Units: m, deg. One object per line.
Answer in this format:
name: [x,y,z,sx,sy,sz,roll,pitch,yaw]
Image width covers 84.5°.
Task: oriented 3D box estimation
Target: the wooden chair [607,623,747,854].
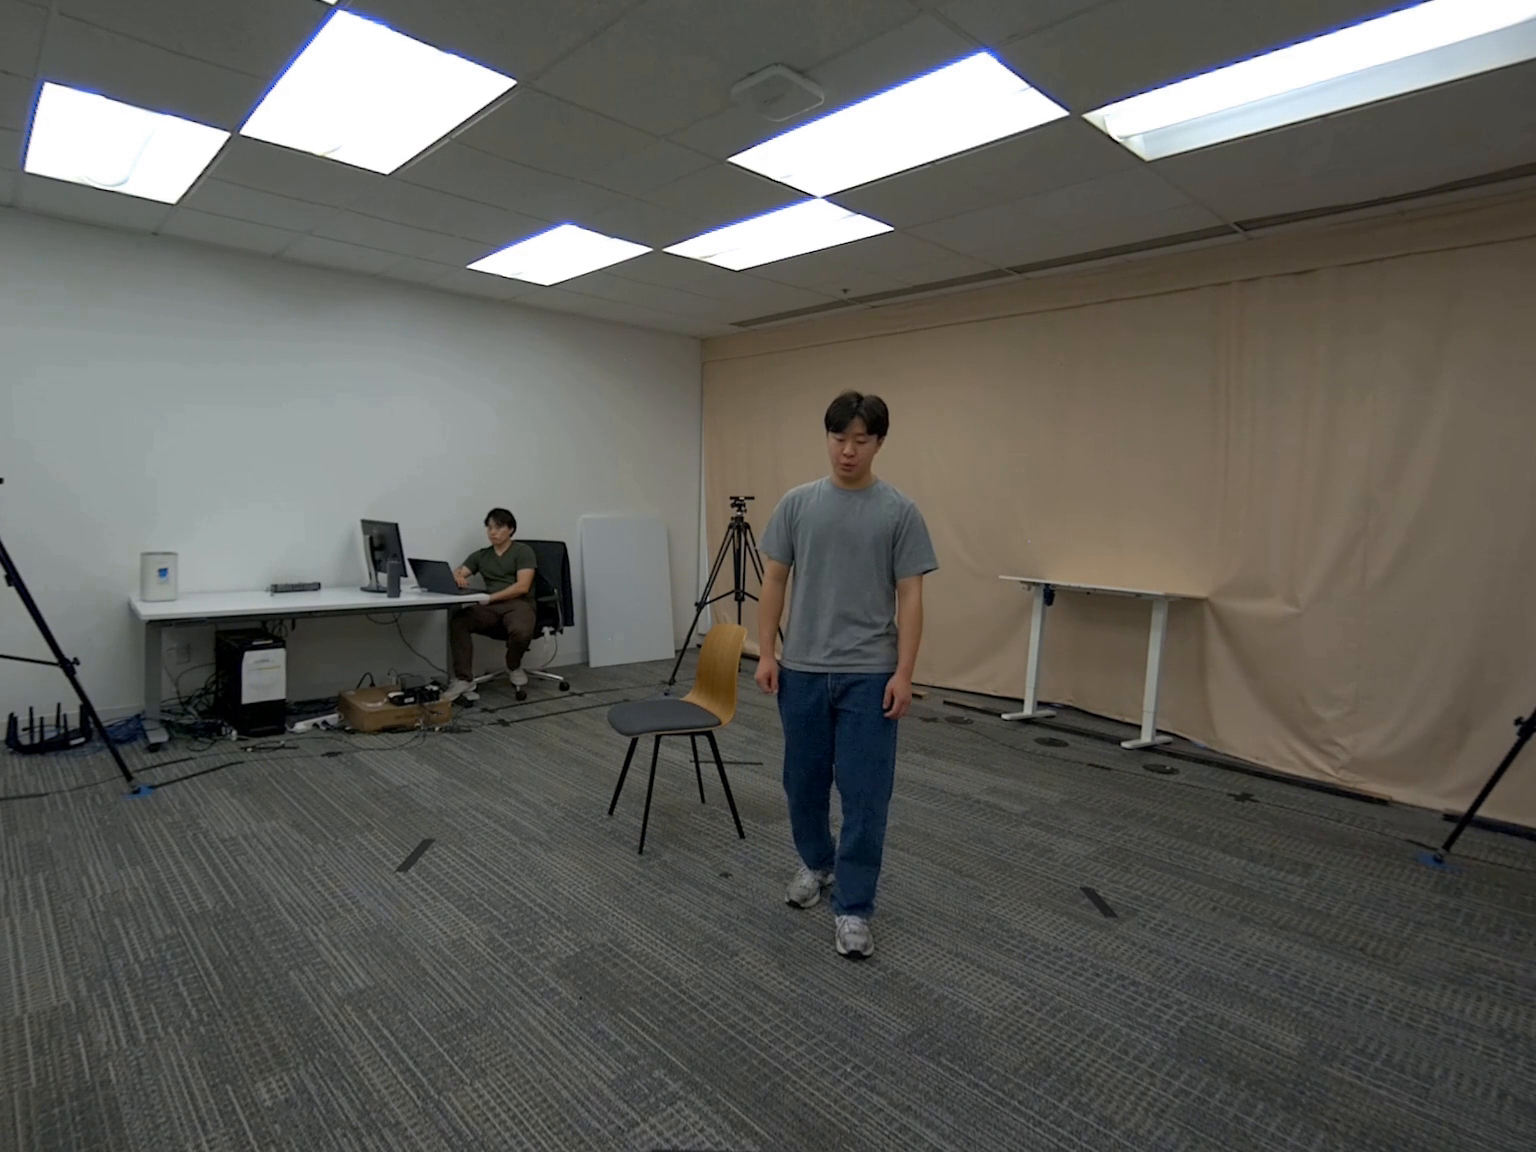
wooden chair: [-0.398,0.635,3.524,0.513,0.876,0.488,4,2,-25]
